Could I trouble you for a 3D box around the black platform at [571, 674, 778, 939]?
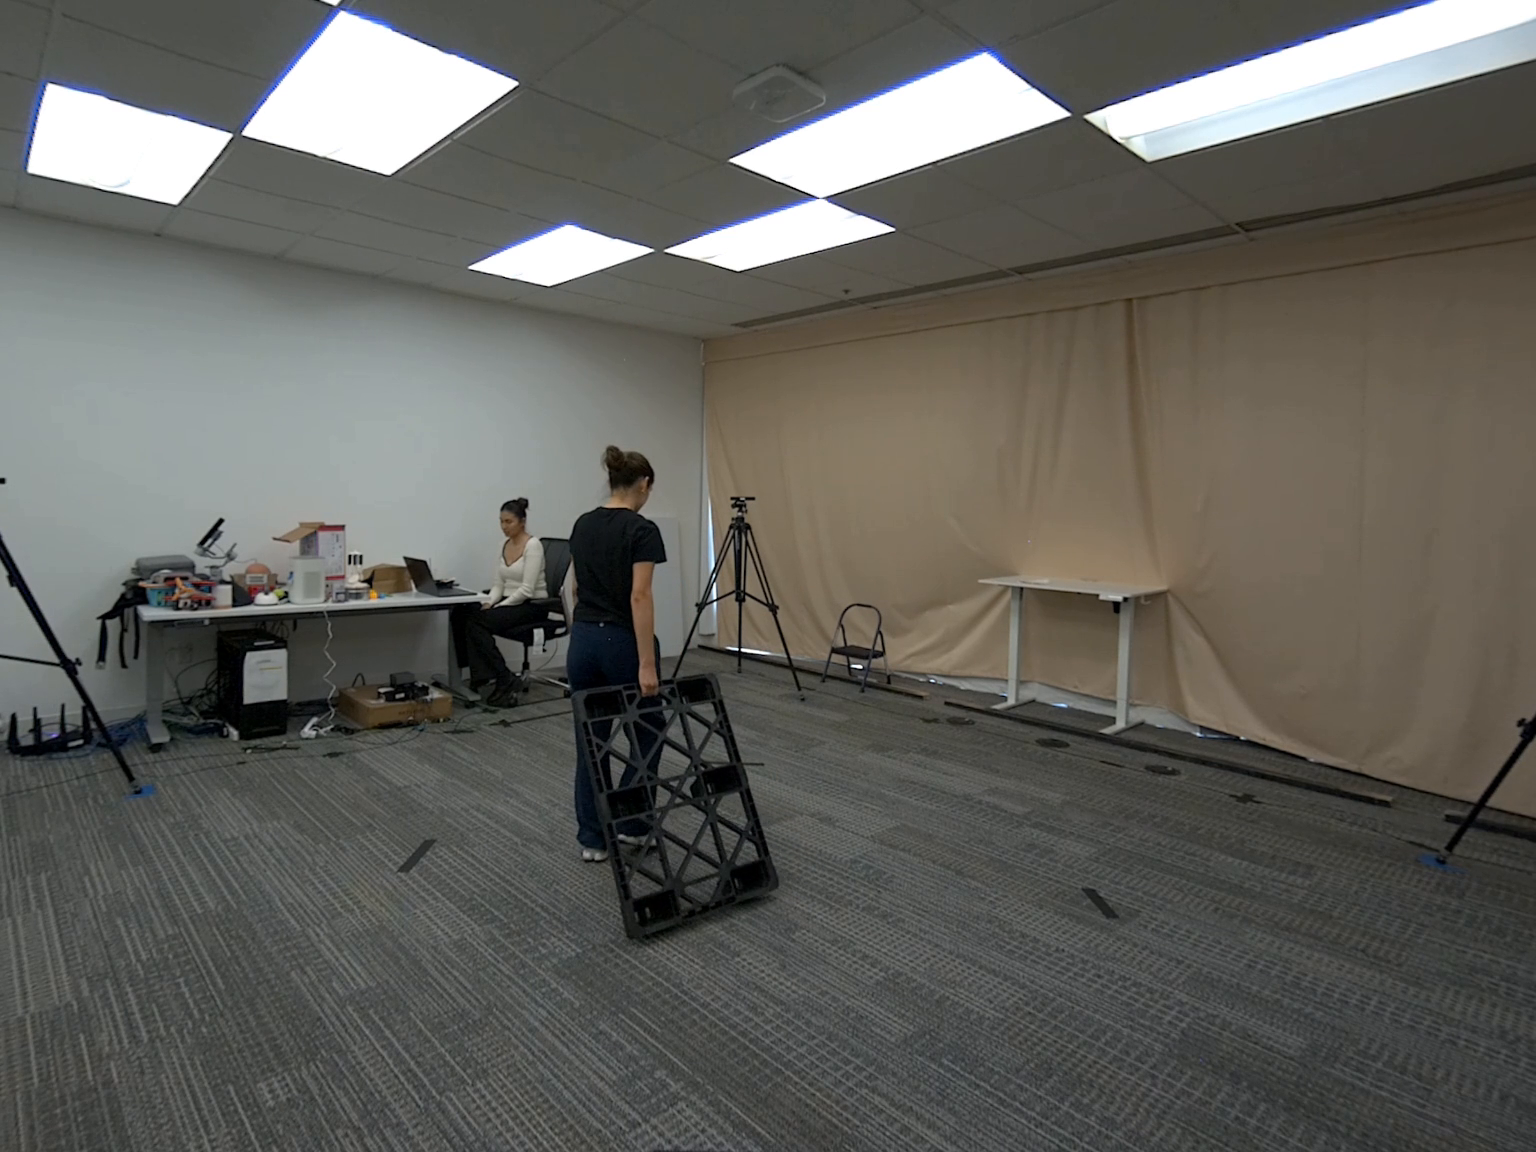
[{"bbox_3d":[-0.338,0.764,2.926,0.591,0.820,0.144,-2,-26,-39],"label":"black platform"}]
